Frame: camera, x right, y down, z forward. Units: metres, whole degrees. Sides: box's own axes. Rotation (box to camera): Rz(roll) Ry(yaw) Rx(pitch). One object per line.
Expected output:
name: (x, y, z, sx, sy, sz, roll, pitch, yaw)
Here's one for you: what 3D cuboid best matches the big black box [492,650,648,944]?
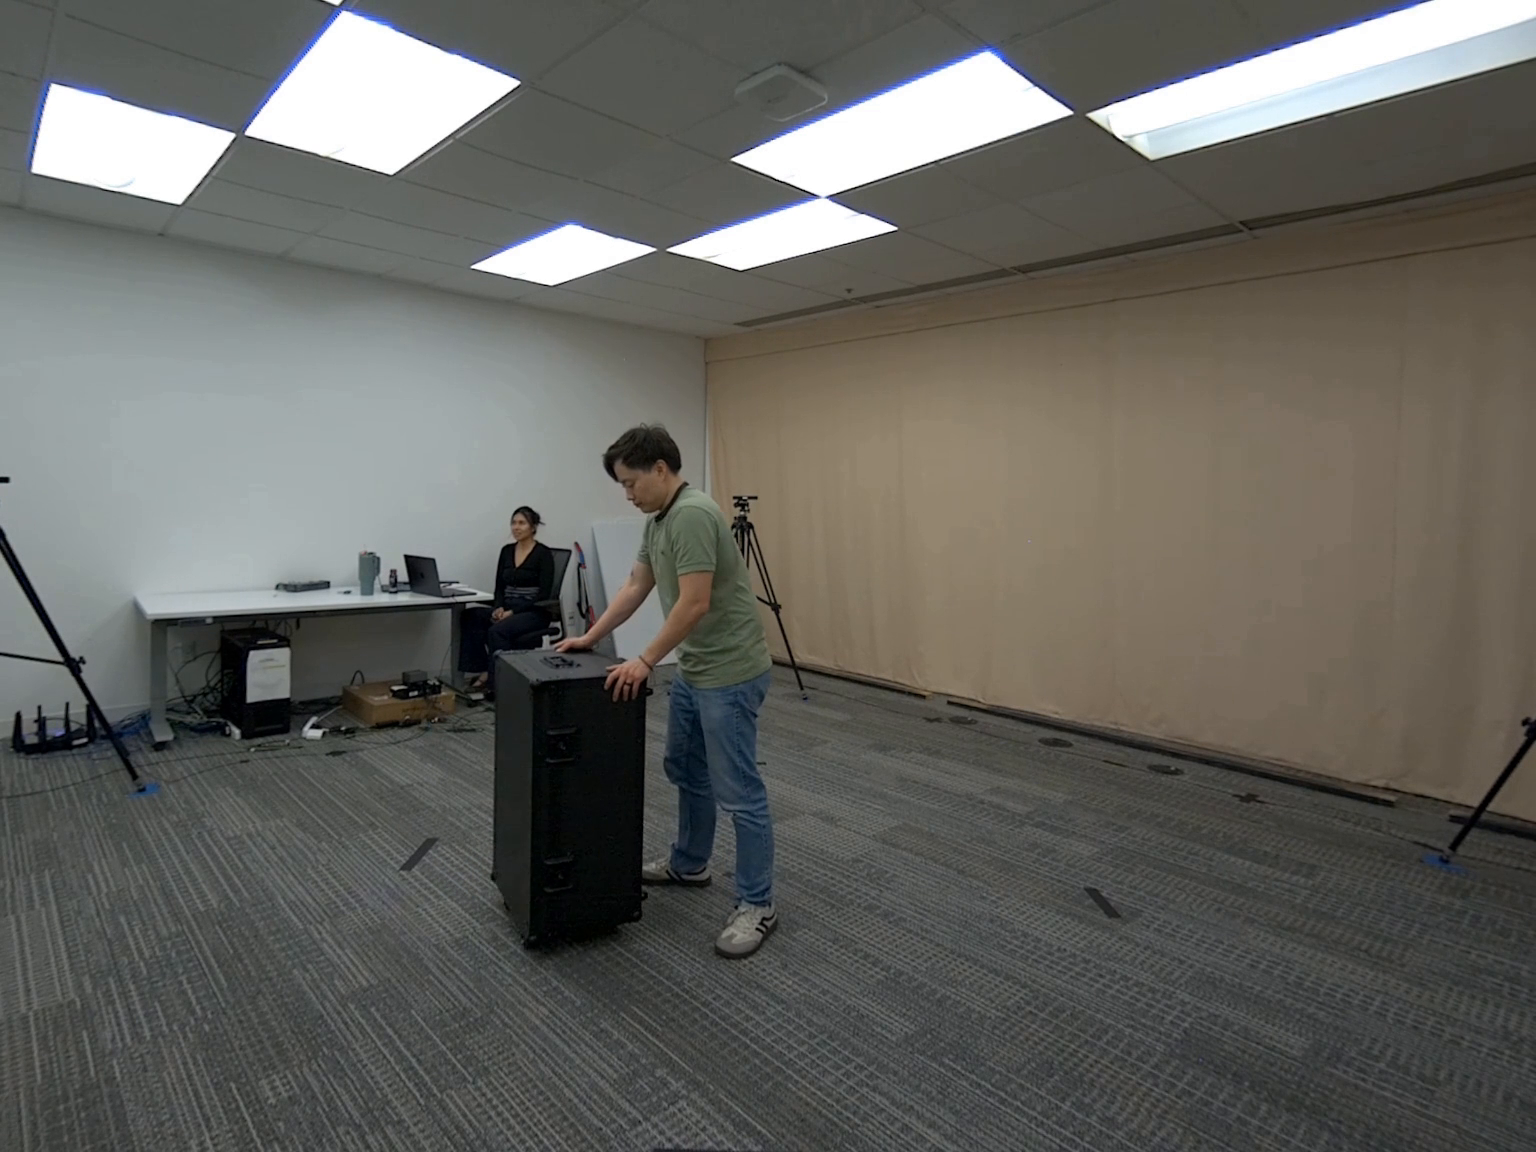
big black box: (-0.655, 0.701, 2.726, 0.388, 0.859, 0.533, 0, 4, -29)
